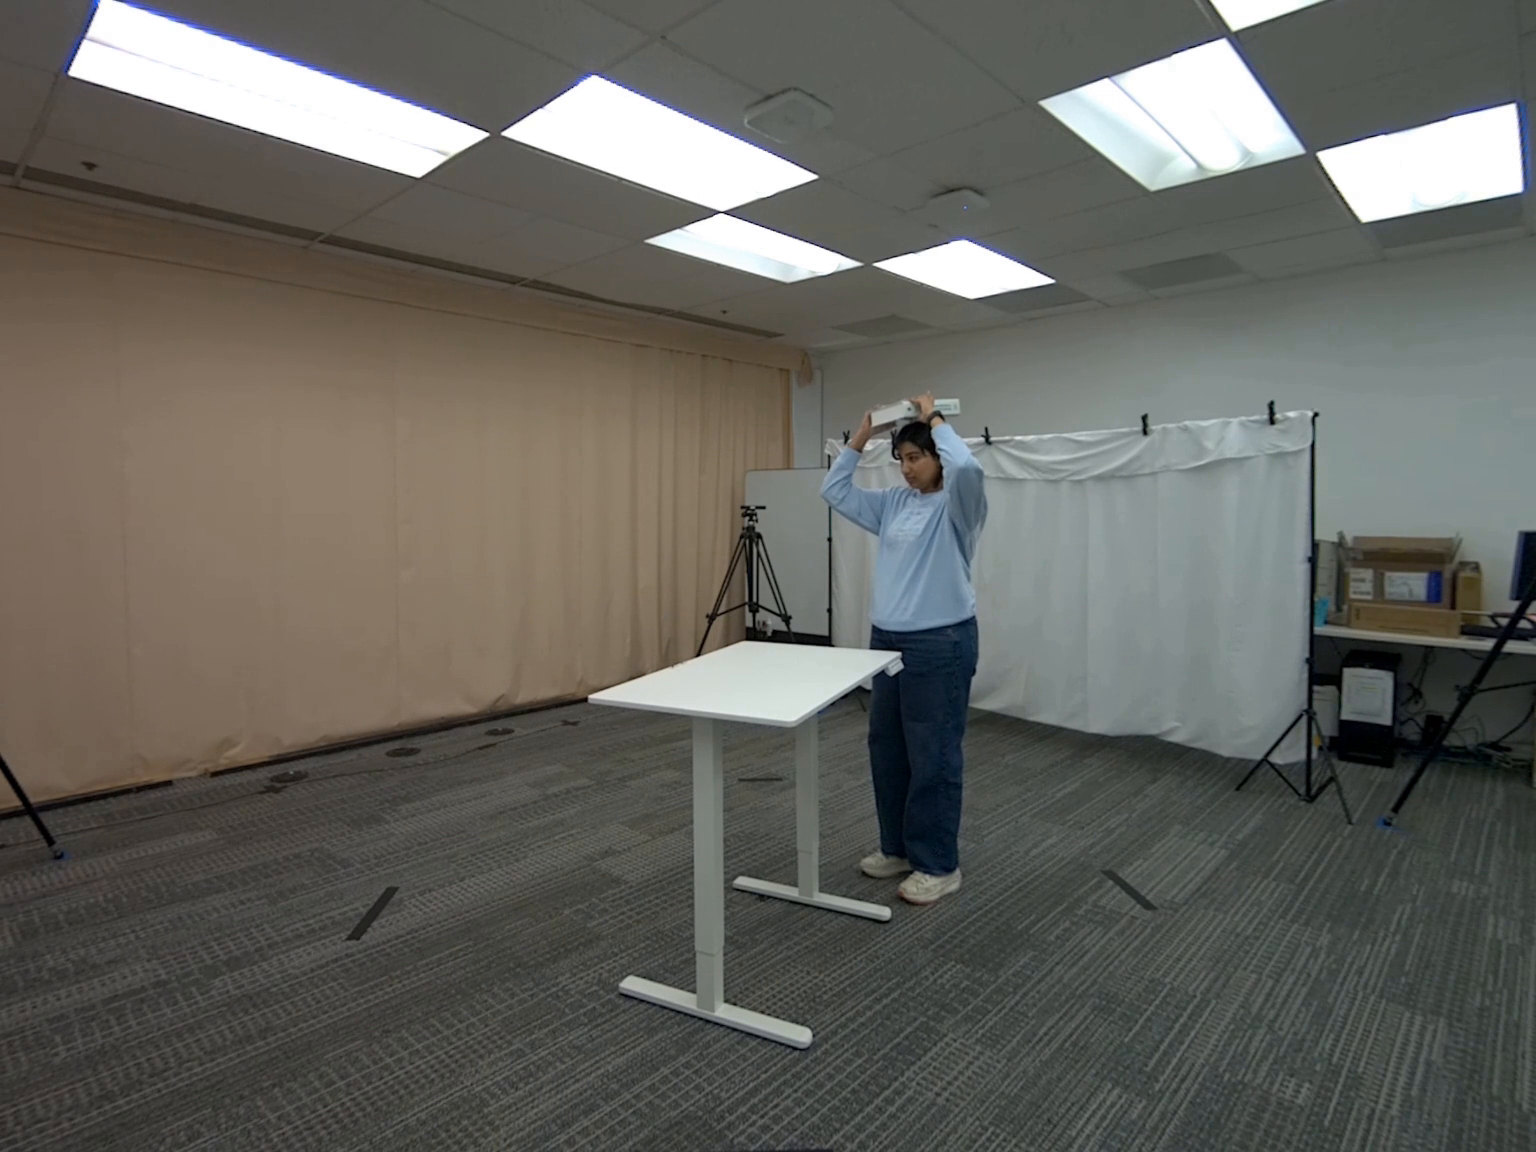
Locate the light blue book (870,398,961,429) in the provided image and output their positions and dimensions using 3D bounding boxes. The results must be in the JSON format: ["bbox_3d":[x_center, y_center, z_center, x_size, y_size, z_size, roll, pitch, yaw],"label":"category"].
[{"bbox_3d":[0.542,-0.588,3.024,0.254,0.059,0.196,-9,2,-30],"label":"light blue book"}]
